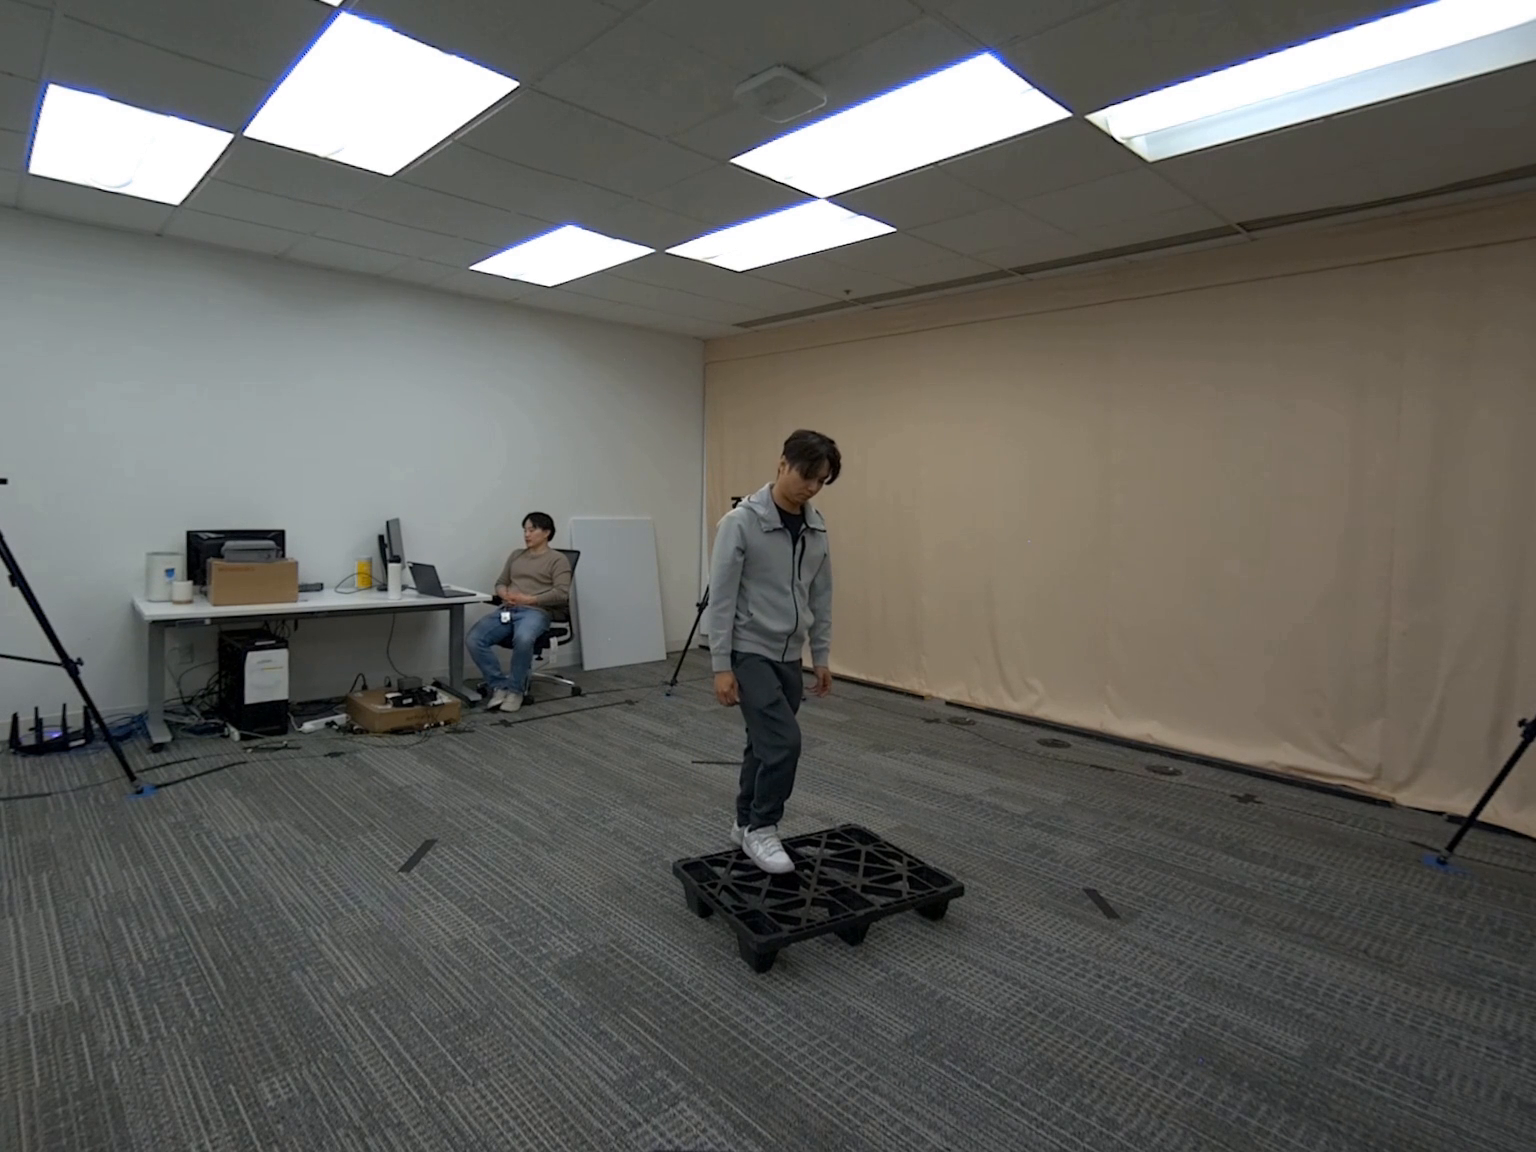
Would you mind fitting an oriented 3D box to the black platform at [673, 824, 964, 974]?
[{"bbox_3d":[0.145,1.070,2.844,0.789,0.143,0.619,-2,5,-30],"label":"black platform"}]
